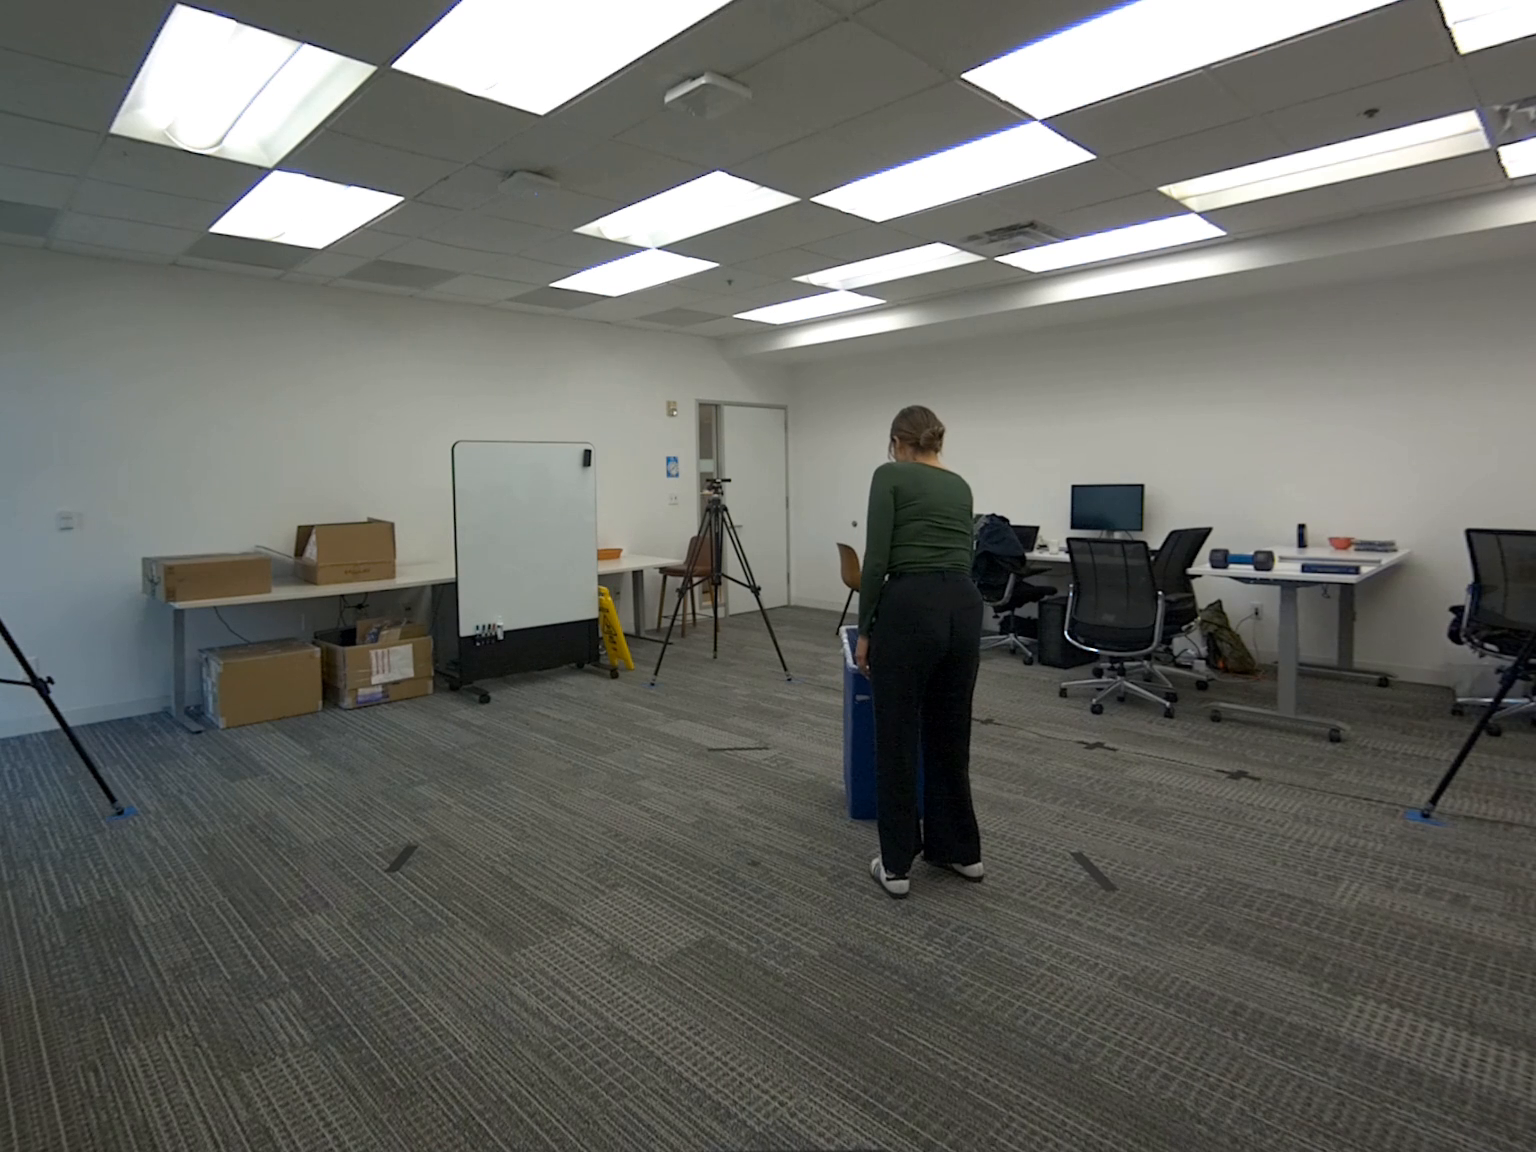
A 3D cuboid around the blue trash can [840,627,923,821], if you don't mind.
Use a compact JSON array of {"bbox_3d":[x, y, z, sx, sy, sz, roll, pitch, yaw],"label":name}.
[{"bbox_3d":[0.488,0.607,3.513,0.378,0.701,0.381,-1,21,-2],"label":"blue trash can"}]
